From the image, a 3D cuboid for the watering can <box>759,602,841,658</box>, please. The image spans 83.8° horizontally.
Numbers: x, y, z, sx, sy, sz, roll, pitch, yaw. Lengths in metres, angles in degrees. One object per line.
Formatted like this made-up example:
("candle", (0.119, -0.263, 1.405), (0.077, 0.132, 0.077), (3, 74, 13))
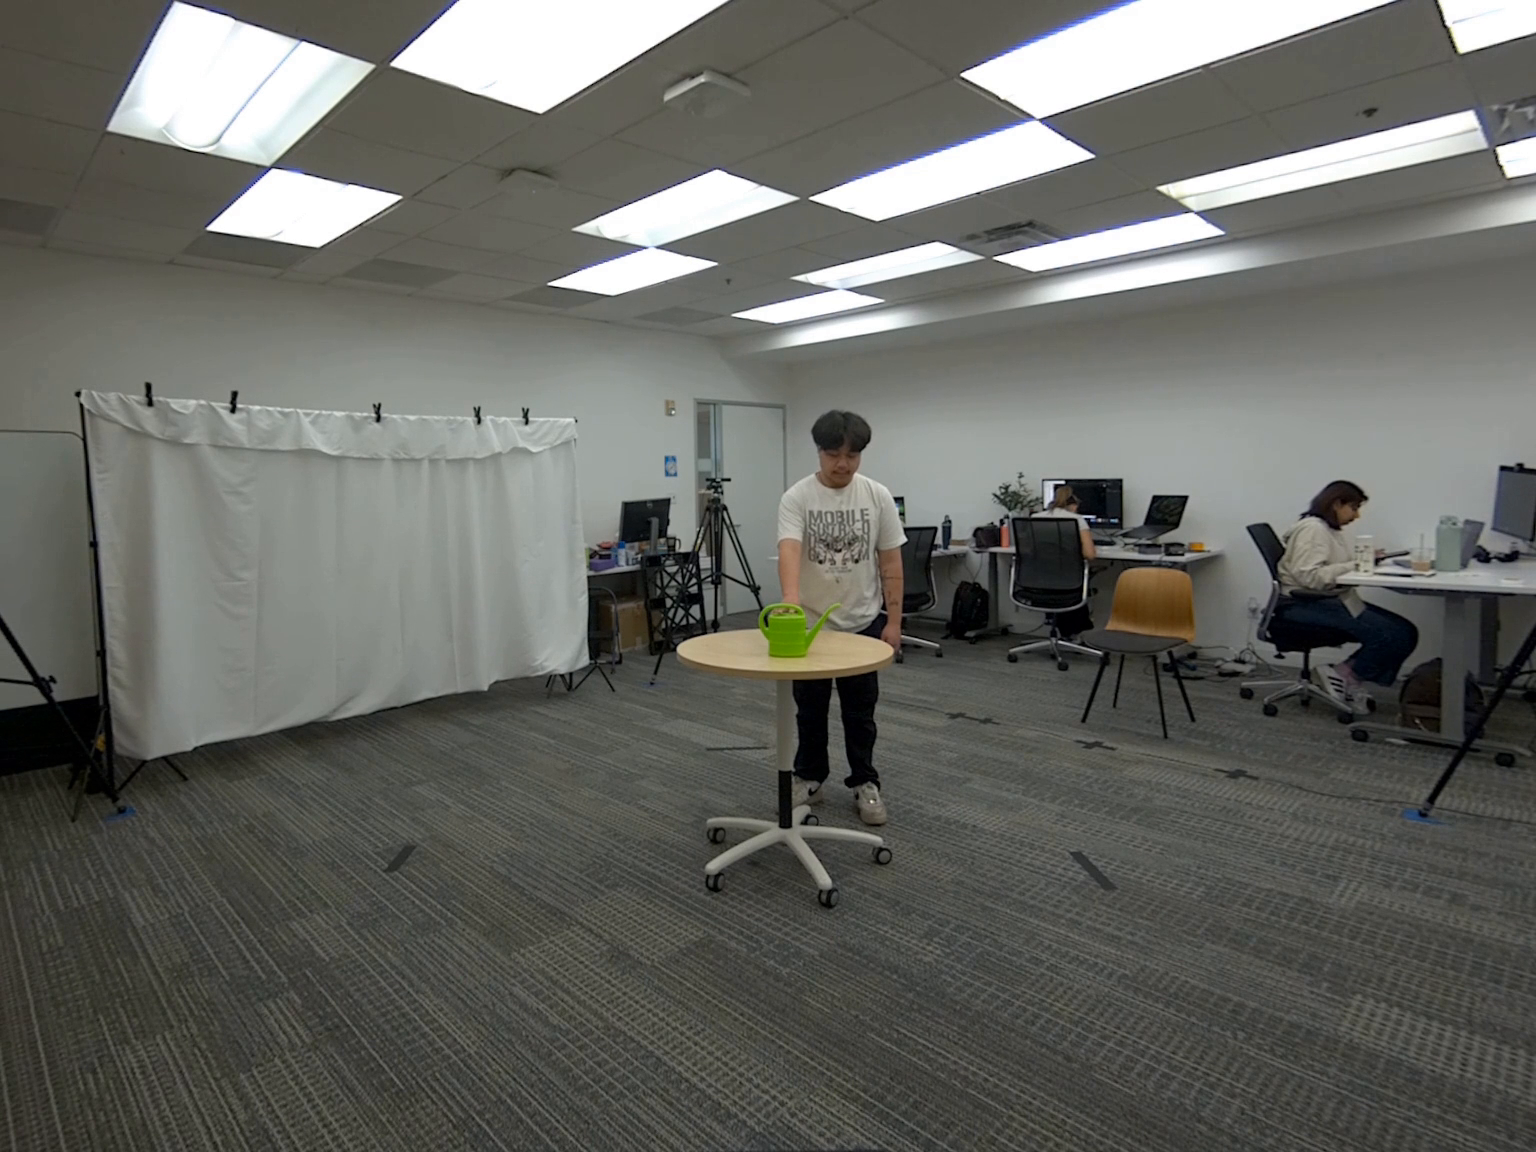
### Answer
("watering can", (0.110, 0.189, 2.888), (0.284, 0.176, 0.096), (2, 5, 23))
